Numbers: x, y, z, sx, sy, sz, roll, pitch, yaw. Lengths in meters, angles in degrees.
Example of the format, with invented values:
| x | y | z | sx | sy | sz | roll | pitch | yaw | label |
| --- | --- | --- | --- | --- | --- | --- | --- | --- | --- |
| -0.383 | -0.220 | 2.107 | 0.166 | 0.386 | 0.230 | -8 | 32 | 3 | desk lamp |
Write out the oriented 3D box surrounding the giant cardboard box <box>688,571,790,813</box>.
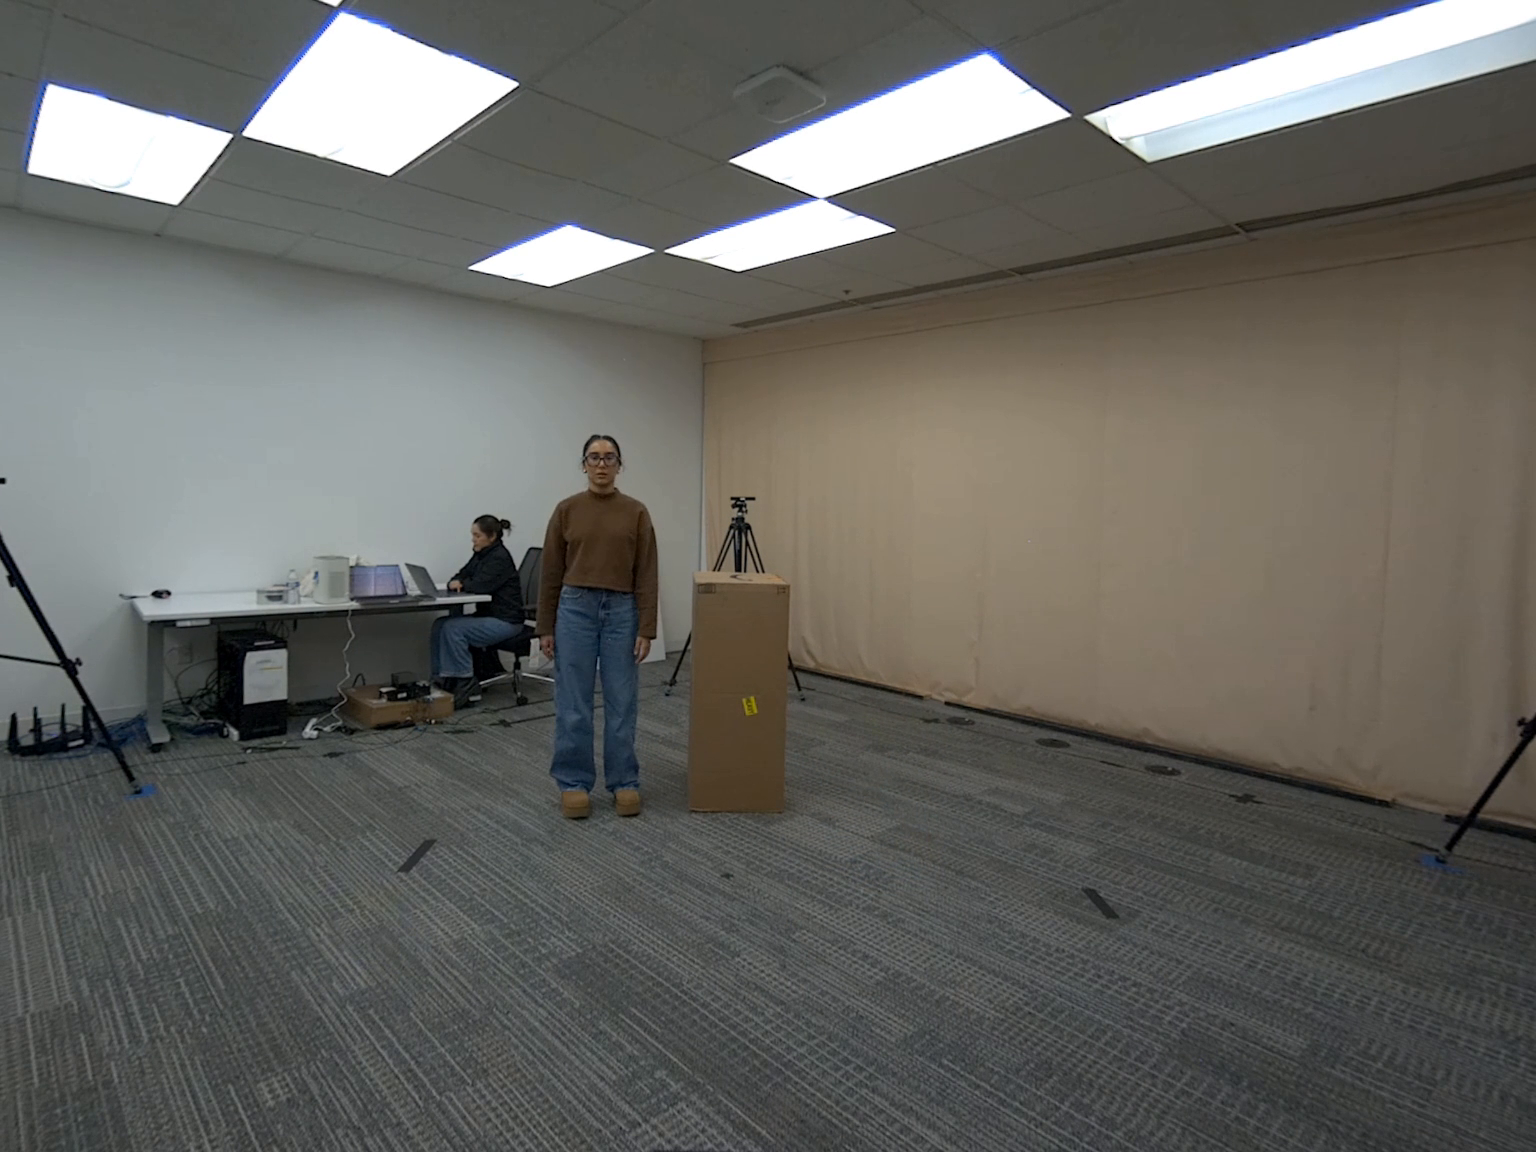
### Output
| x | y | z | sx | sy | sz | roll | pitch | yaw | label |
| --- | --- | --- | --- | --- | --- | --- | --- | --- | --- |
| -0.162 | 0.518 | 4.009 | 0.424 | 1.024 | 0.581 | 1 | 3 | -6 | giant cardboard box |
